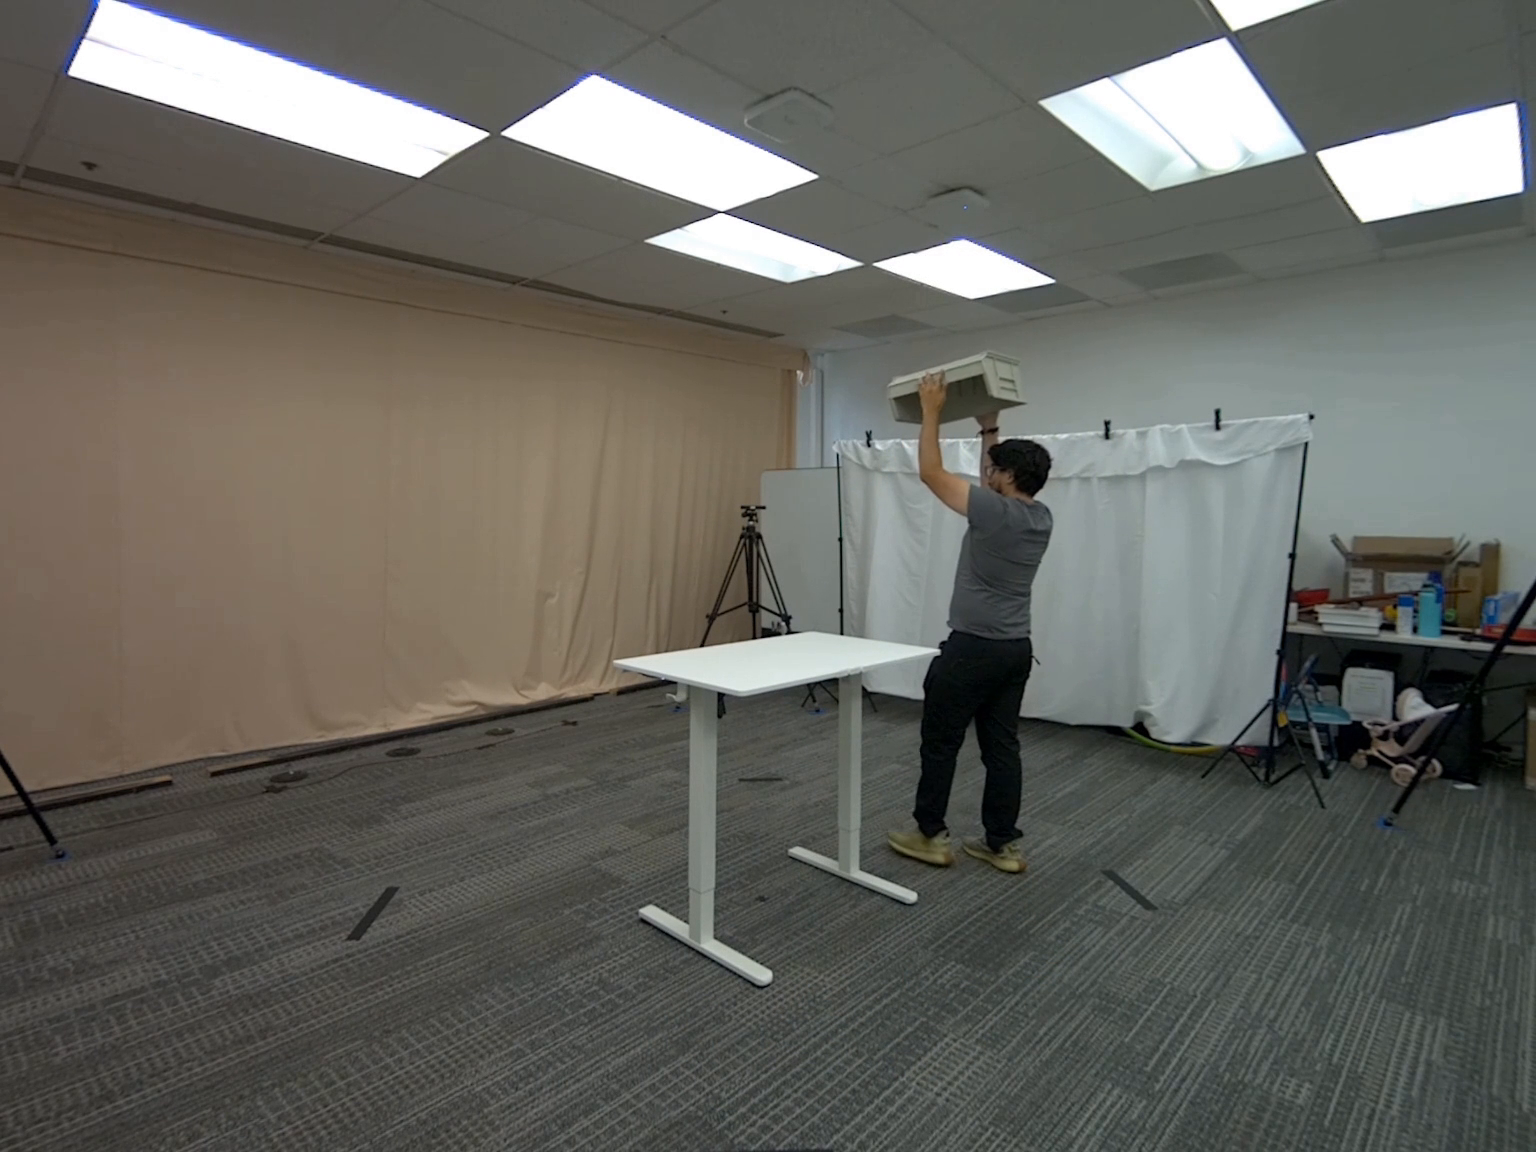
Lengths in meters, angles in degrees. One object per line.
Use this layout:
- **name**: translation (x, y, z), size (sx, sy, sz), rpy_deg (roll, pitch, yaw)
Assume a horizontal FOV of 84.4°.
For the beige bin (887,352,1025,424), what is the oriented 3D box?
- **beige bin**: translation (0.759, -0.742, 3.389), size (0.434, 0.189, 0.366), rpy_deg (-8, 0, 40)
